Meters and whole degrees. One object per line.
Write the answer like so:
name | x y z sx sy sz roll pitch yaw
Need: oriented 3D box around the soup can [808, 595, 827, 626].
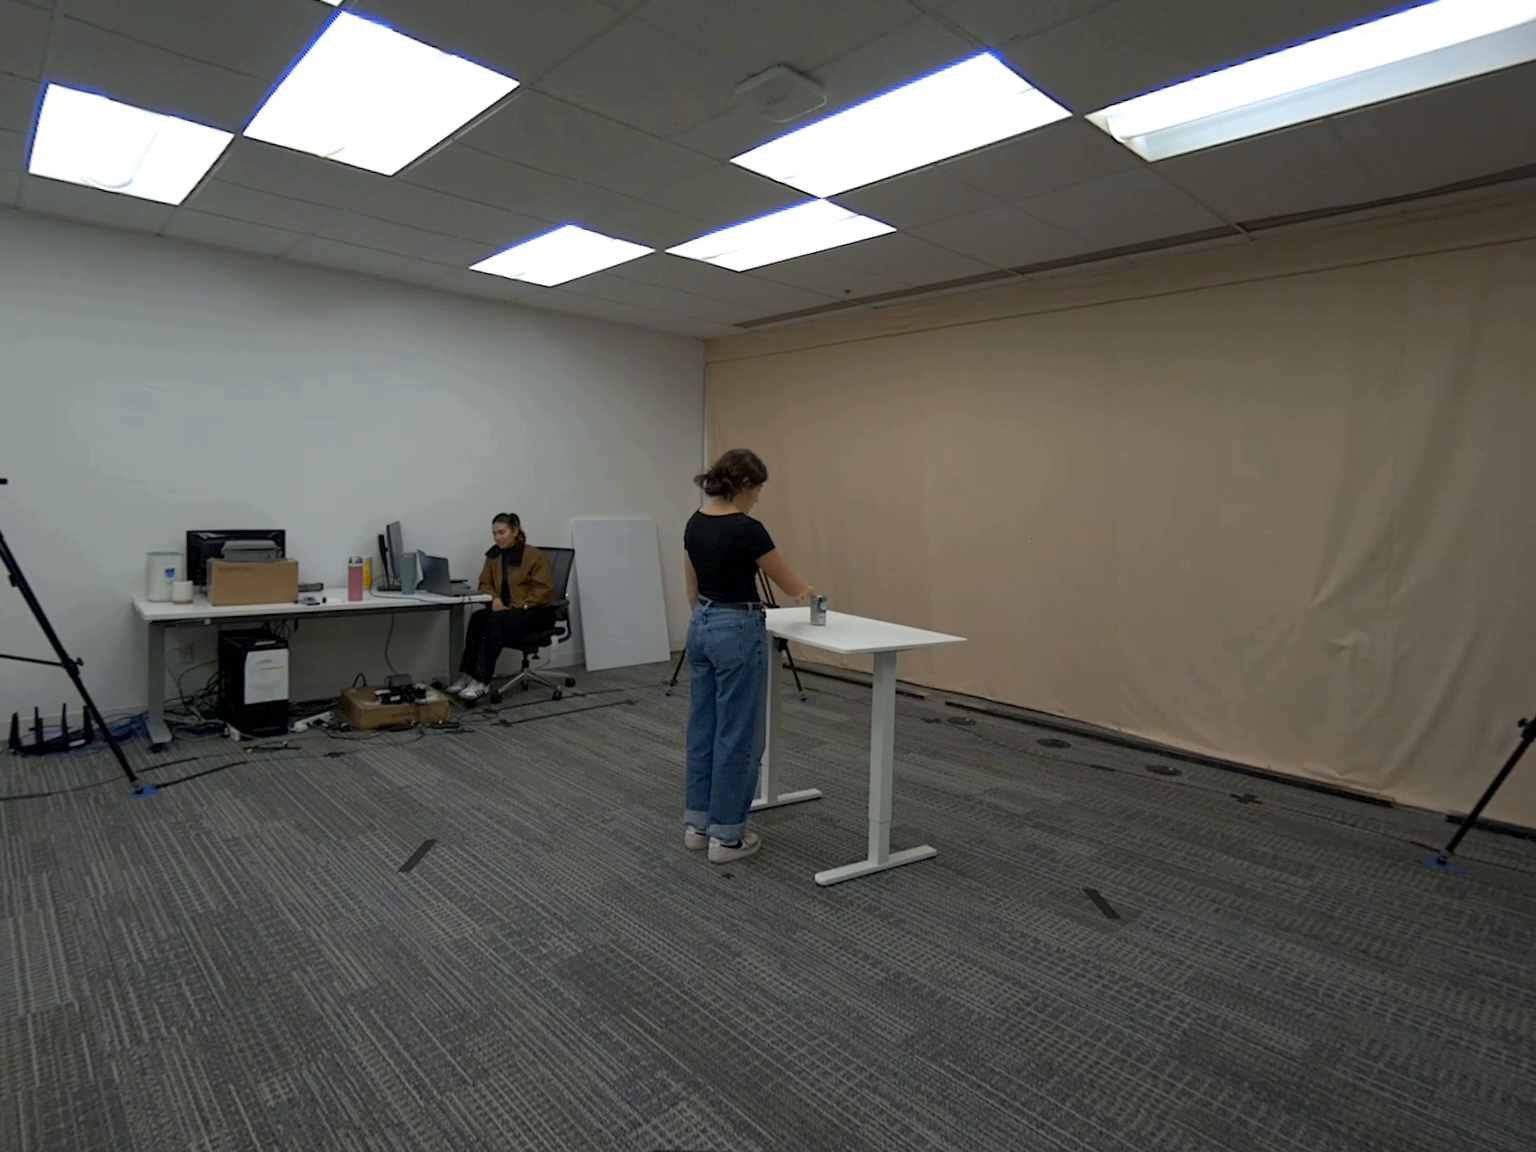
soup can | 0.194 0.141 3.474 0.067 0.121 0.067 -2 3 -1
